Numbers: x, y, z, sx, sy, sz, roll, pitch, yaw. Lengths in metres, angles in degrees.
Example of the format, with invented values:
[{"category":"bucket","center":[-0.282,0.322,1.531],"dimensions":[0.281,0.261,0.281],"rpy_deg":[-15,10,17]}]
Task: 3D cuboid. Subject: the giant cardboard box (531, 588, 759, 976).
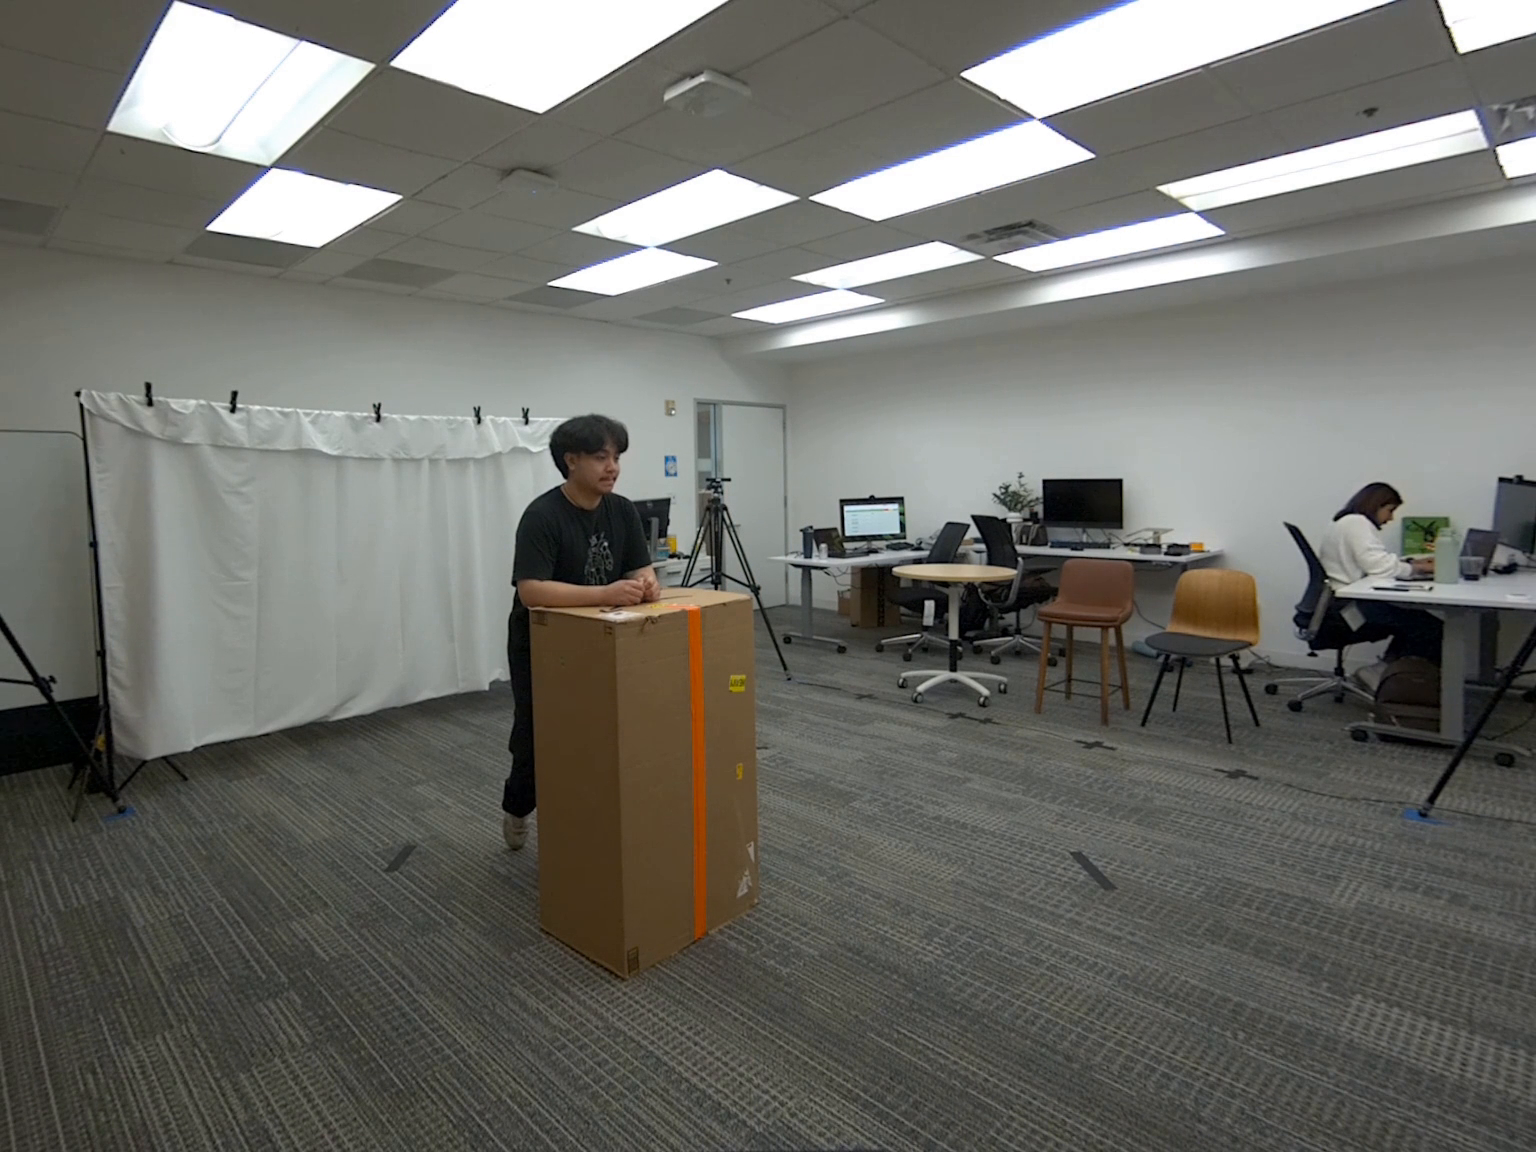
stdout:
[{"category":"giant cardboard box","center":[-0.377,0.585,2.705],"dimensions":[0.461,1.022,0.569],"rpy_deg":[4,7,43]}]
